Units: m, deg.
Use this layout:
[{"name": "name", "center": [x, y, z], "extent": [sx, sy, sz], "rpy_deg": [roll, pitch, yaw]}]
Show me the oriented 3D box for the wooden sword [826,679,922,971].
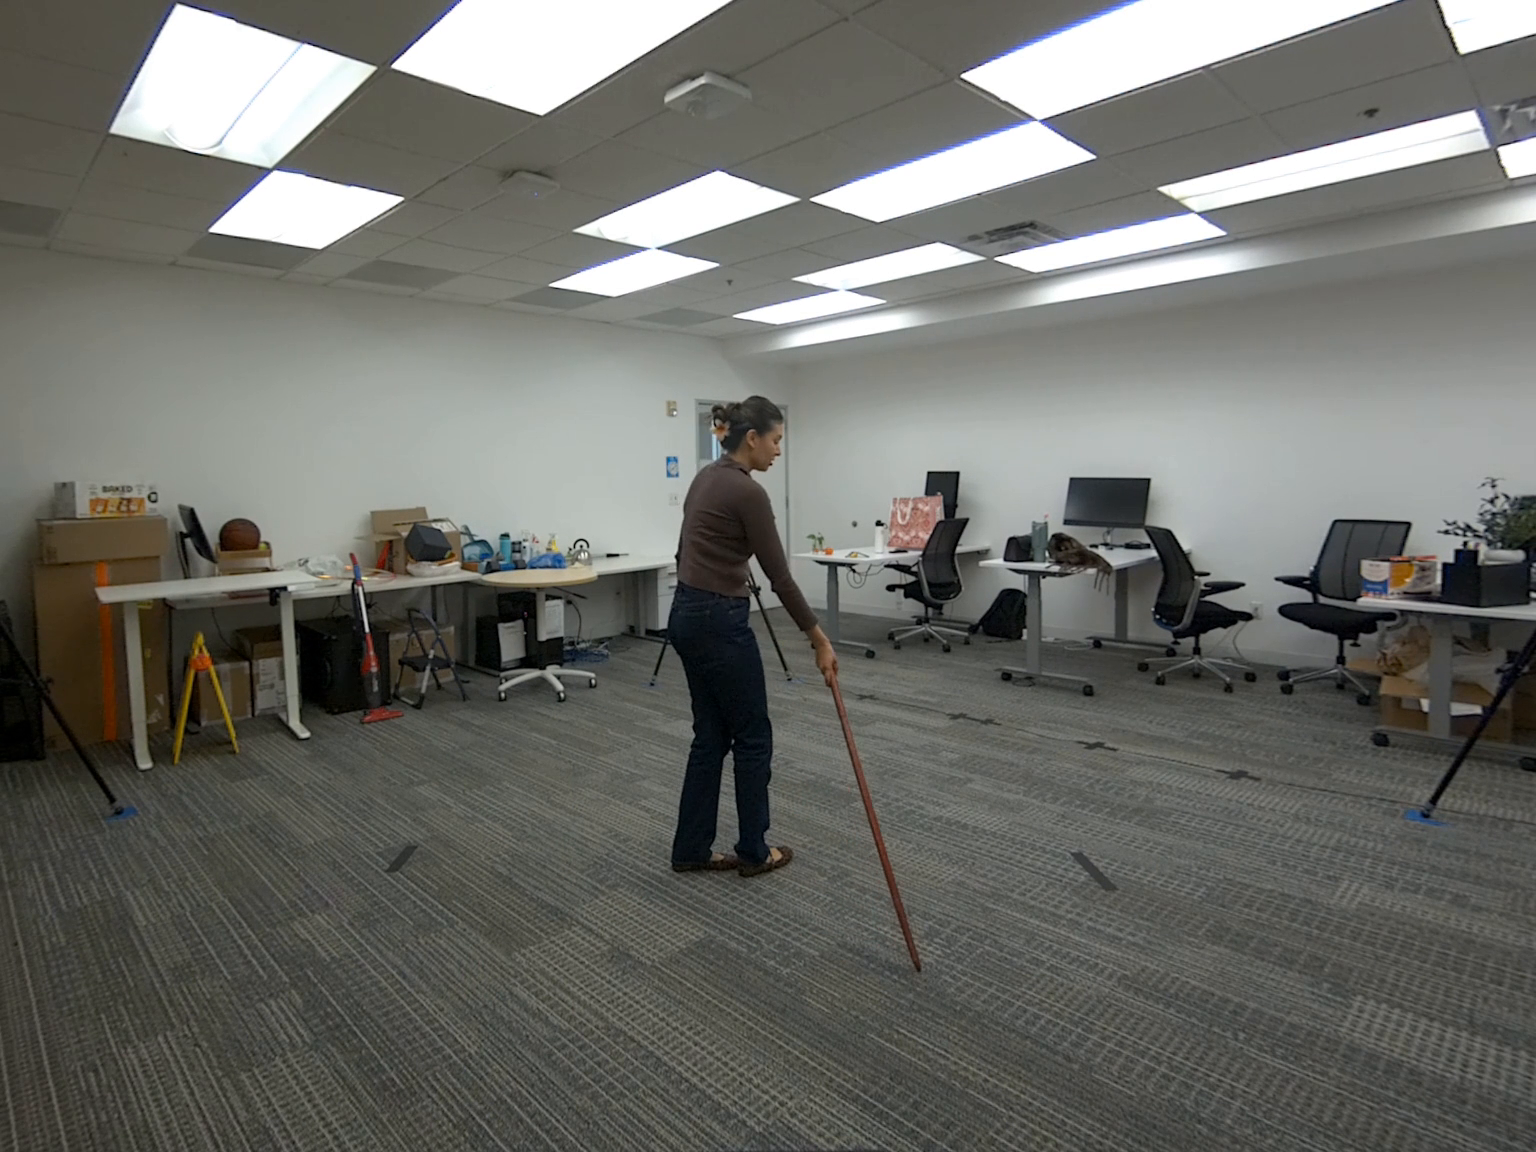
[{"name": "wooden sword", "center": [0.319, 0.681, 2.678], "extent": [0.050, 1.056, 0.024], "rpy_deg": [3, -36, -27]}]
